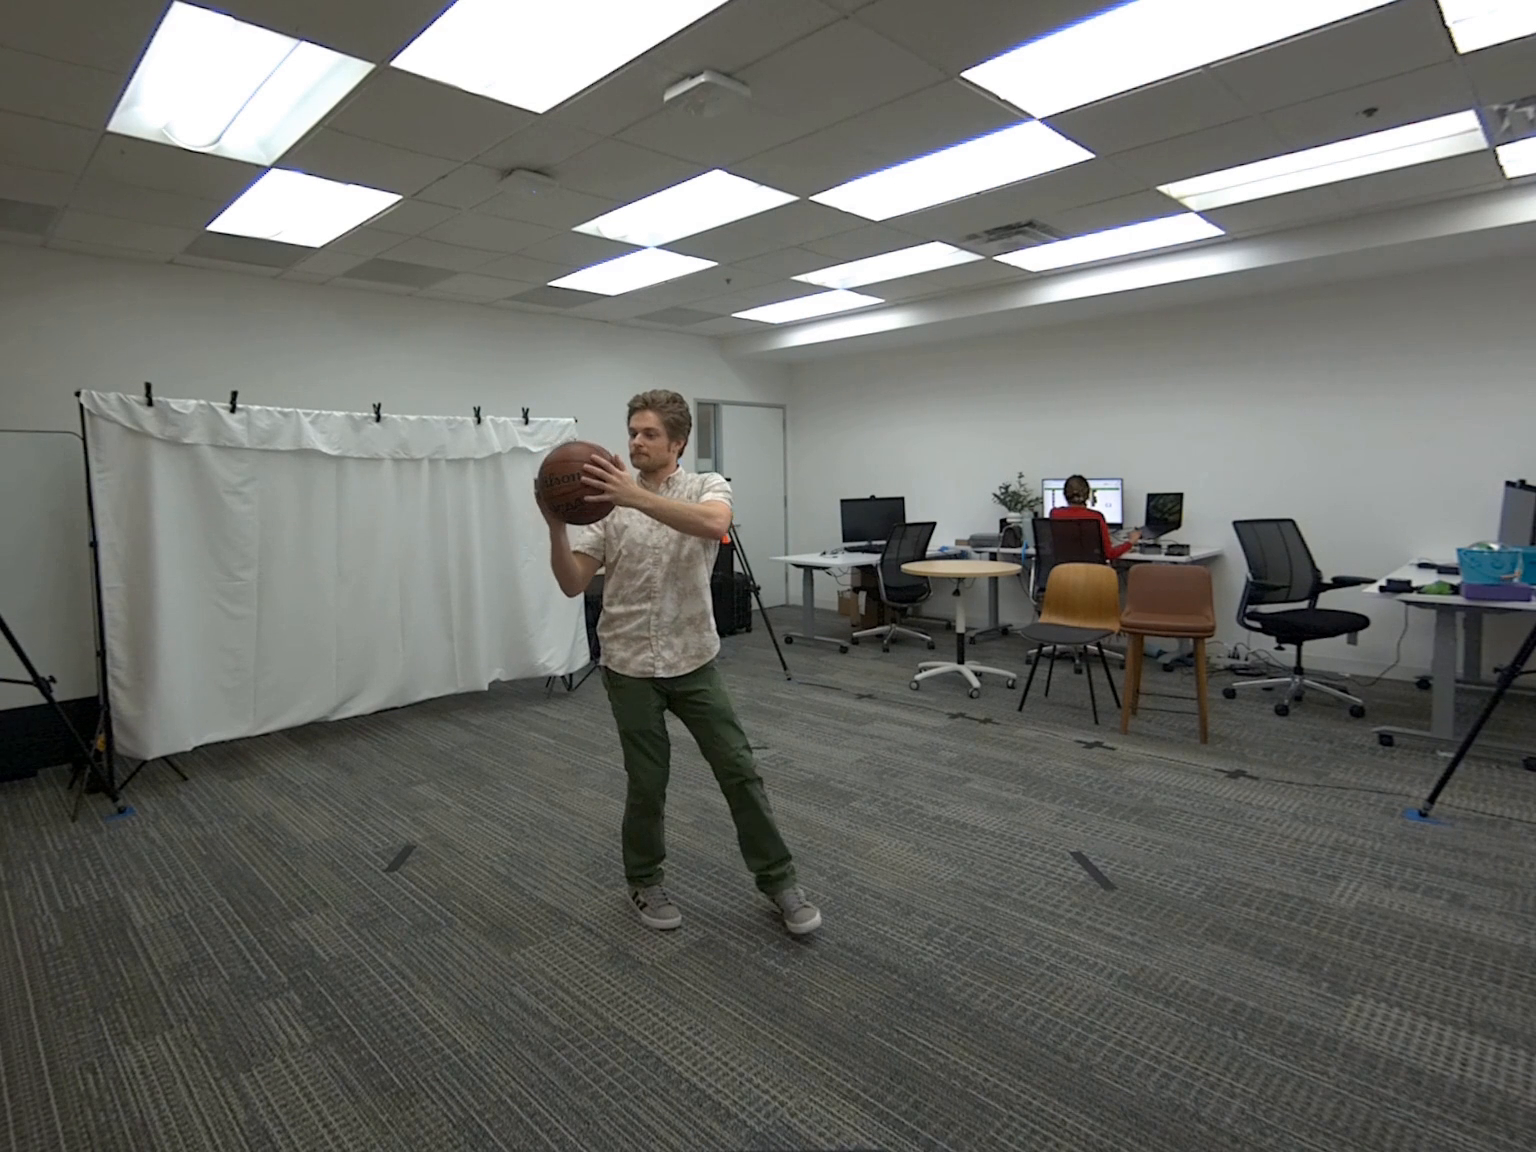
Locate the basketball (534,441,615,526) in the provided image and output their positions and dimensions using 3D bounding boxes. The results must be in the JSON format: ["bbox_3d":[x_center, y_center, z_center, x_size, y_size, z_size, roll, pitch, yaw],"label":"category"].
[{"bbox_3d":[-0.518,-0.264,2.399,0.236,0.235,0.237,-1,5,-2],"label":"basketball"}]
